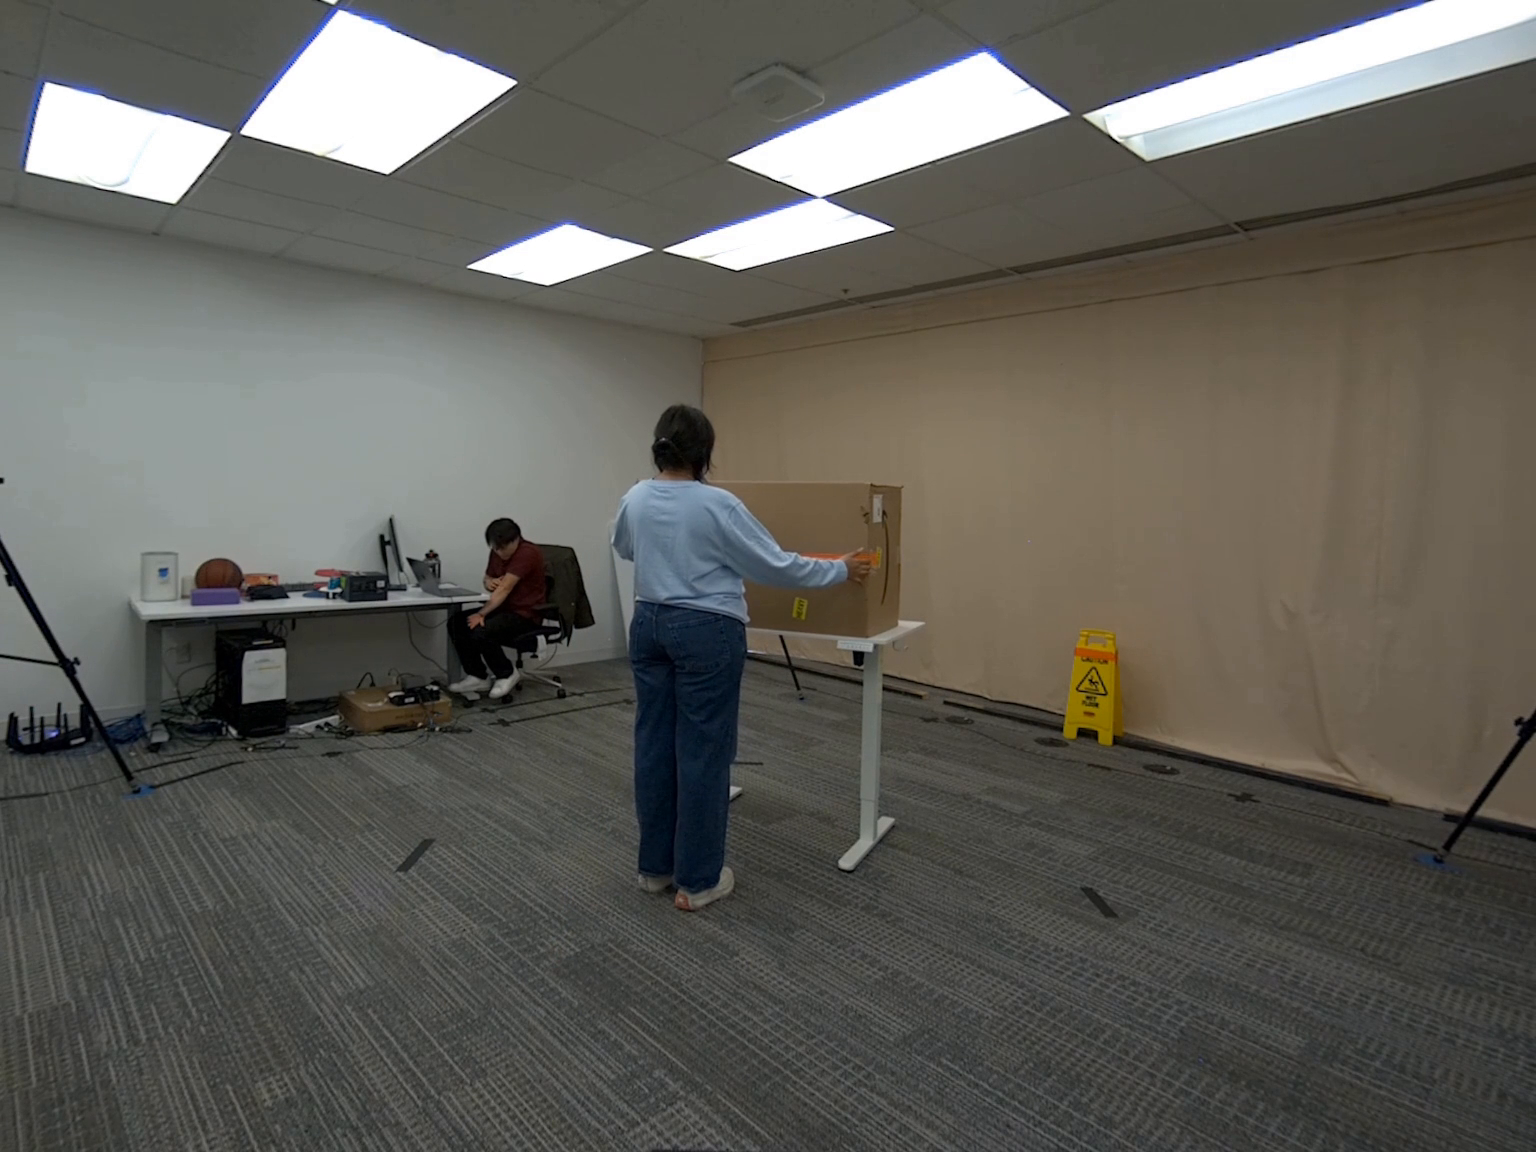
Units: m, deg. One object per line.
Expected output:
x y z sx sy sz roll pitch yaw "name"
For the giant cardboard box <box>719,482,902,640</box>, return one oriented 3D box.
0.001 -0.093 3.493 1.047 0.576 0.418 3 4 27 "giant cardboard box"
